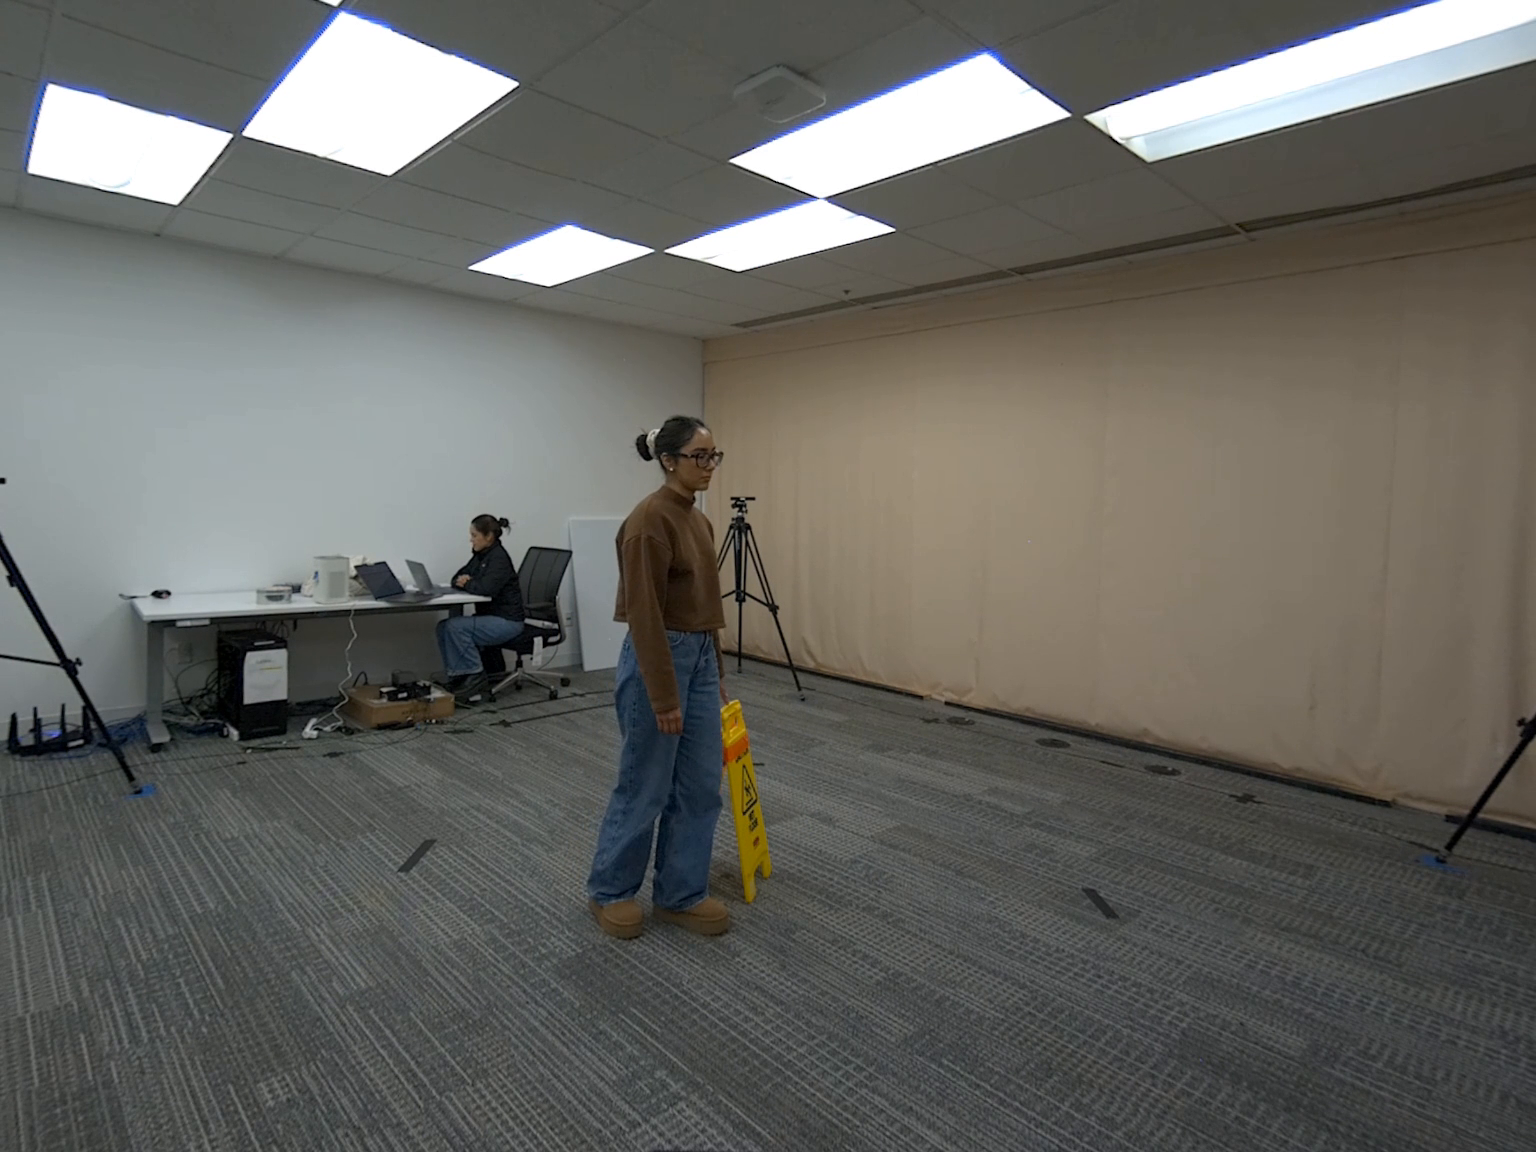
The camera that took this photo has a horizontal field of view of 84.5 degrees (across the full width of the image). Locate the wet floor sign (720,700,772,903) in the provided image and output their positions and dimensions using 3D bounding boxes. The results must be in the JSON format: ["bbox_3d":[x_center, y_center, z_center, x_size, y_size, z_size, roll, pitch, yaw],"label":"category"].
[{"bbox_3d":[-0.148,0.790,3.045,0.294,0.644,0.279,3,5,17],"label":"wet floor sign"}]
